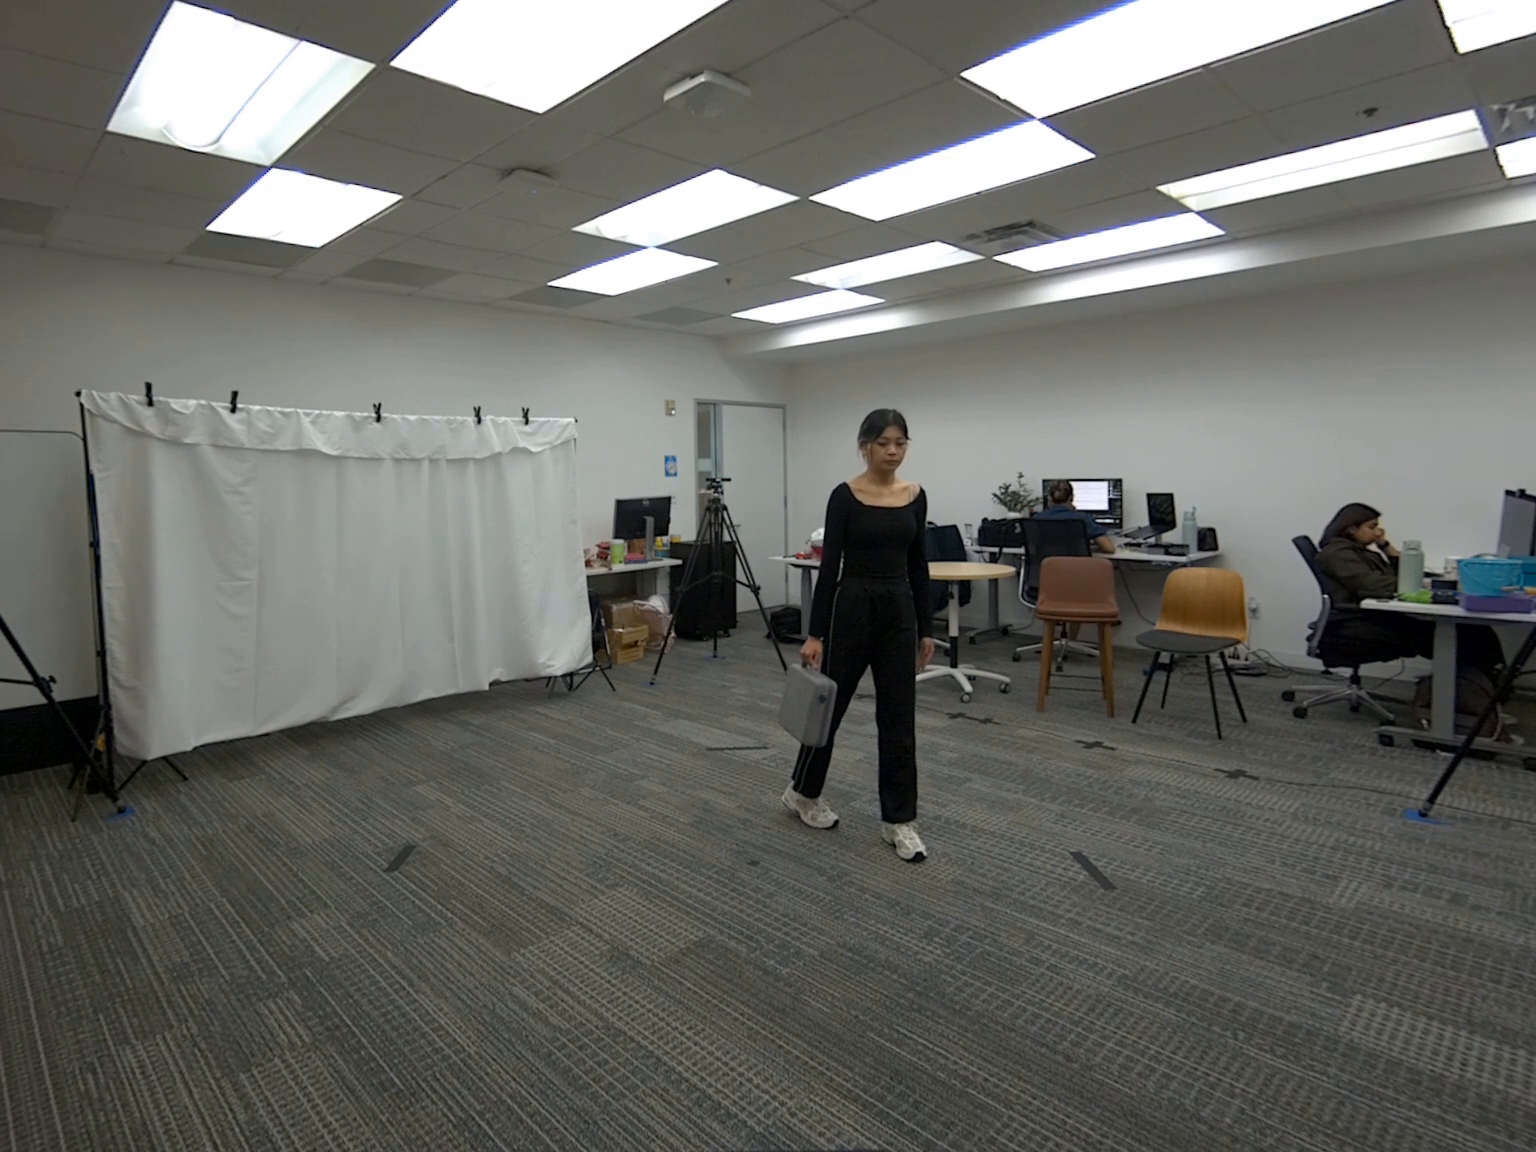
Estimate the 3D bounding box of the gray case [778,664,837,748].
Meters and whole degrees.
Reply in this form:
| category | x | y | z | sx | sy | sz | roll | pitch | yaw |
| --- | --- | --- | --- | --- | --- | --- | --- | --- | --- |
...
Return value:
| category | x | y | z | sx | sy | sz | roll | pitch | yaw |
| --- | --- | --- | --- | --- | --- | --- | --- | --- | --- |
| gray case | 0.151 | 0.476 | 3.205 | 0.102 | 0.260 | 0.263 | 9 | 5 | -19 |
